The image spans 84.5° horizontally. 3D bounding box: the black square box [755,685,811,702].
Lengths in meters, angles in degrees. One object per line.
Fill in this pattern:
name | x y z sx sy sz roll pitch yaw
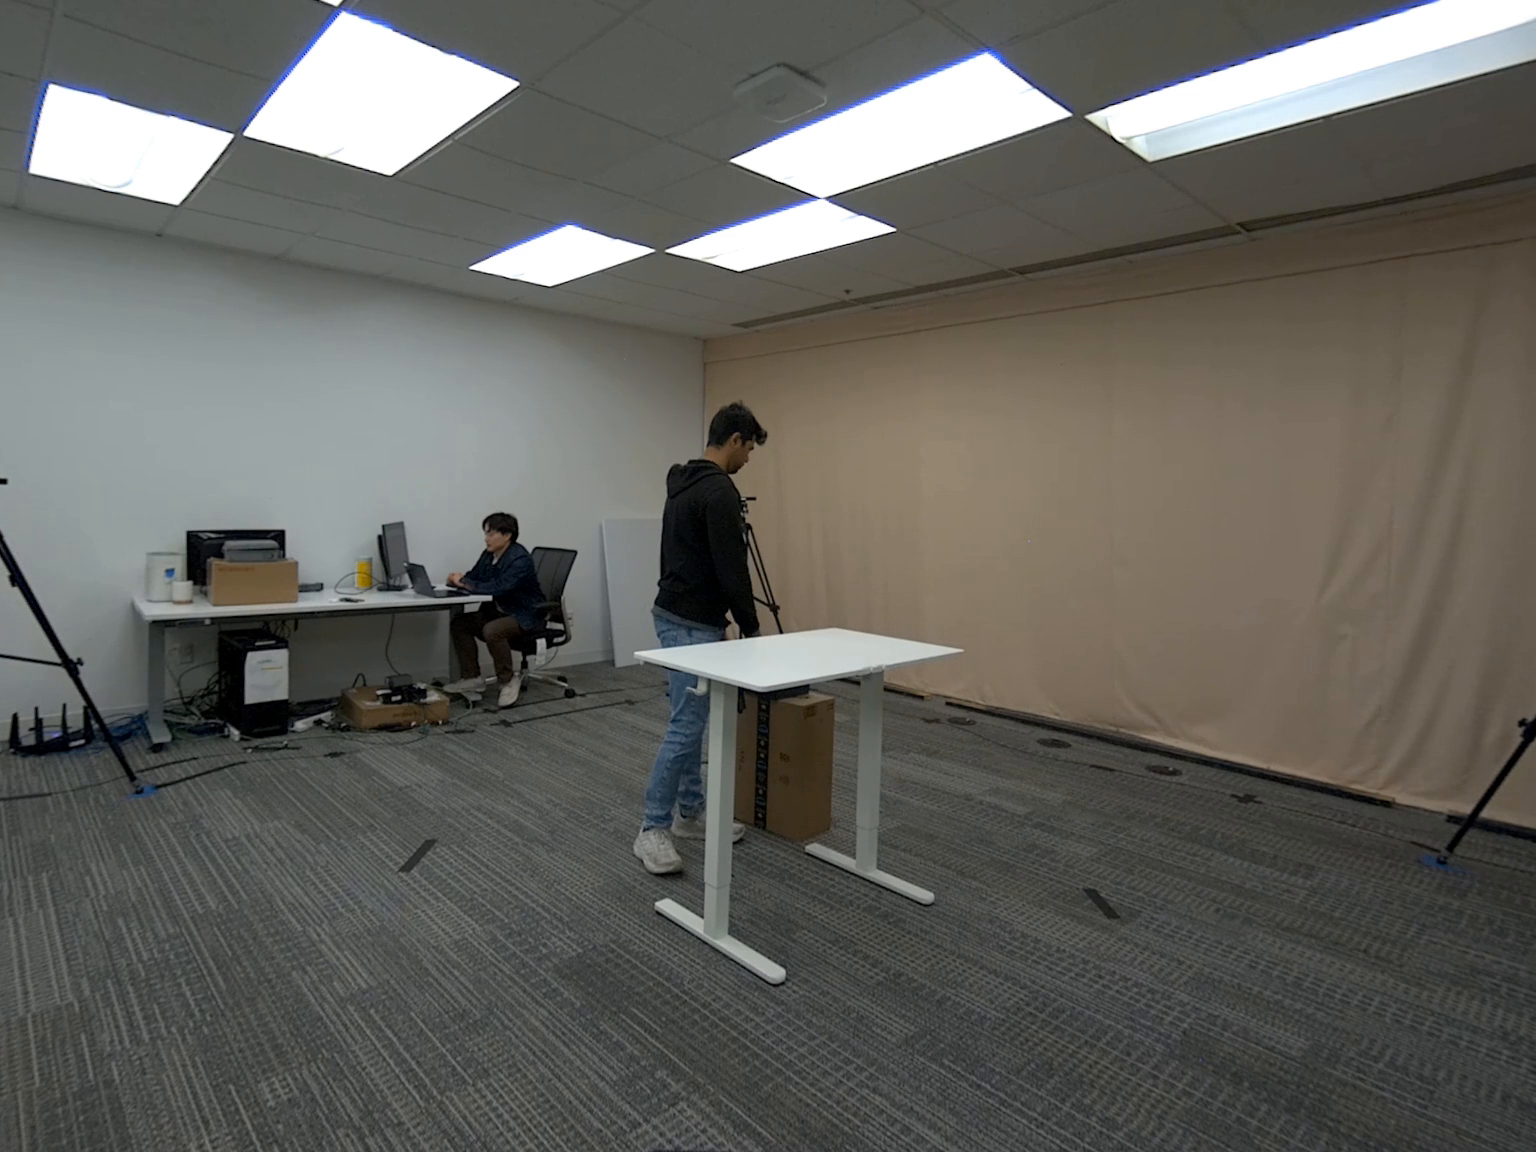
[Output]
black square box | 0.024 0.424 3.624 0.212 0.155 0.234 -3 7 -45
